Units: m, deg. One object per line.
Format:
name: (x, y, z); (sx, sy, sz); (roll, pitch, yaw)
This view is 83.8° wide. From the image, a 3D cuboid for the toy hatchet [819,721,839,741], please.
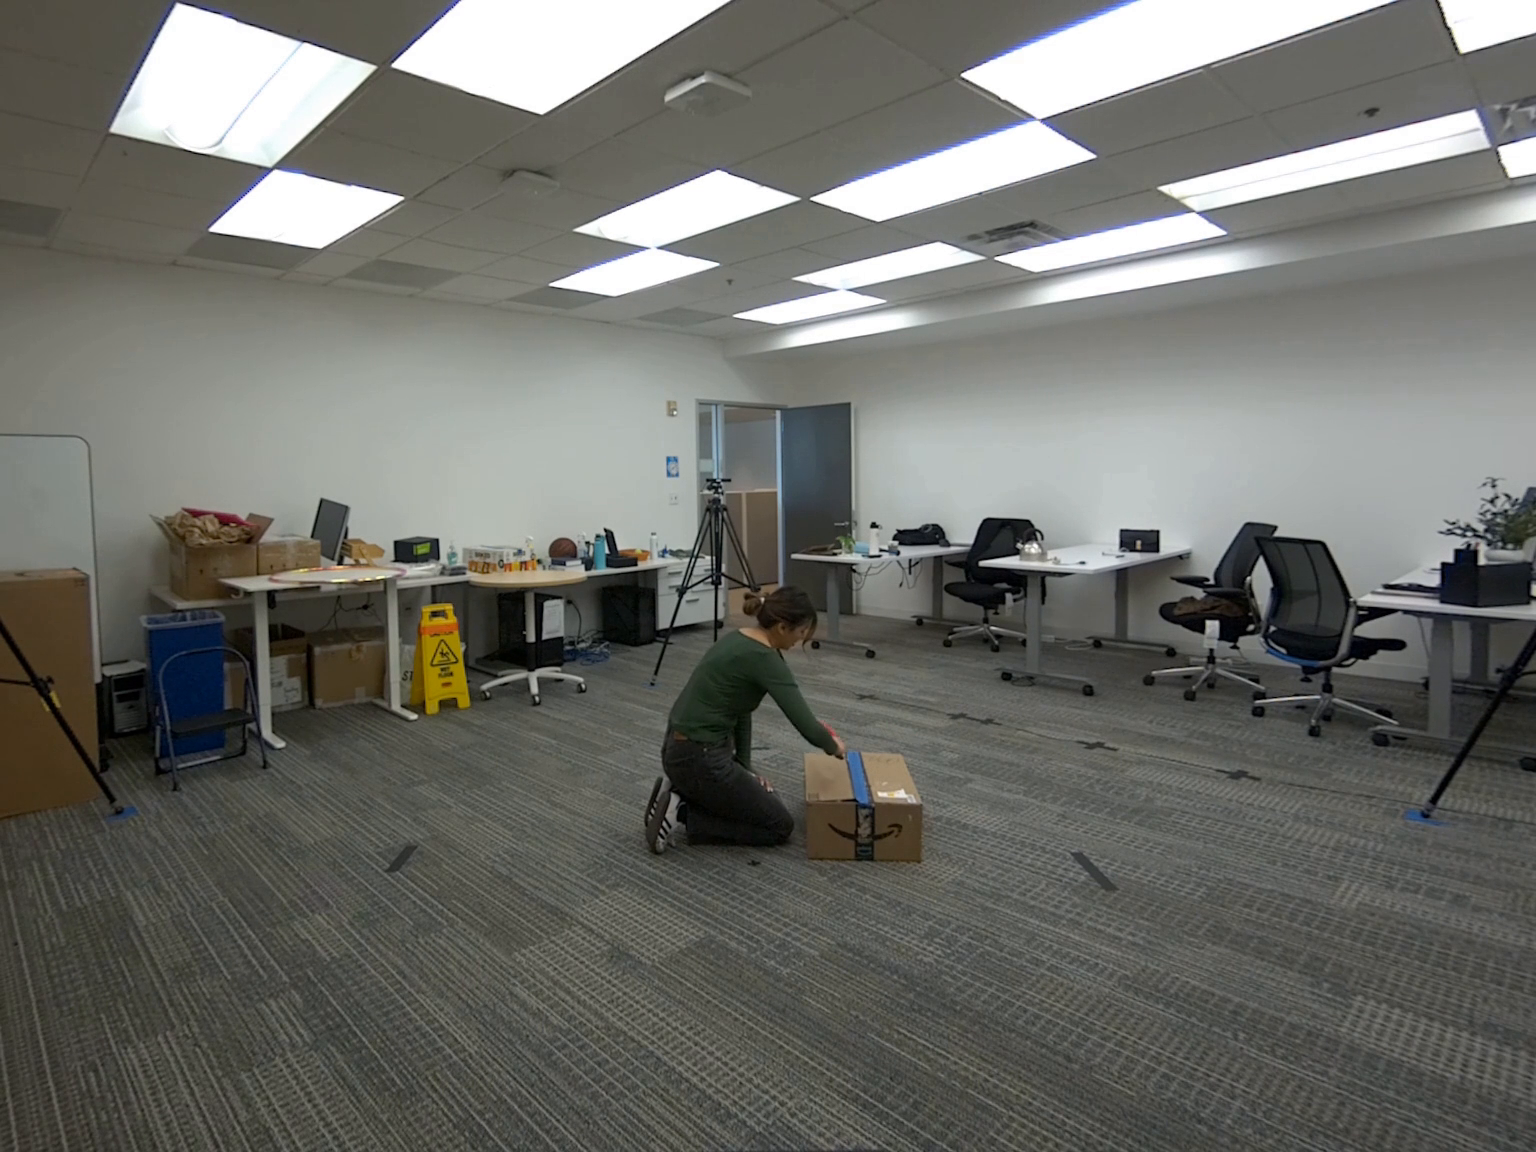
toy hatchet: (0.279, 0.665, 3.399); (0.127, 0.029, 0.277); (43, 5, -23)
